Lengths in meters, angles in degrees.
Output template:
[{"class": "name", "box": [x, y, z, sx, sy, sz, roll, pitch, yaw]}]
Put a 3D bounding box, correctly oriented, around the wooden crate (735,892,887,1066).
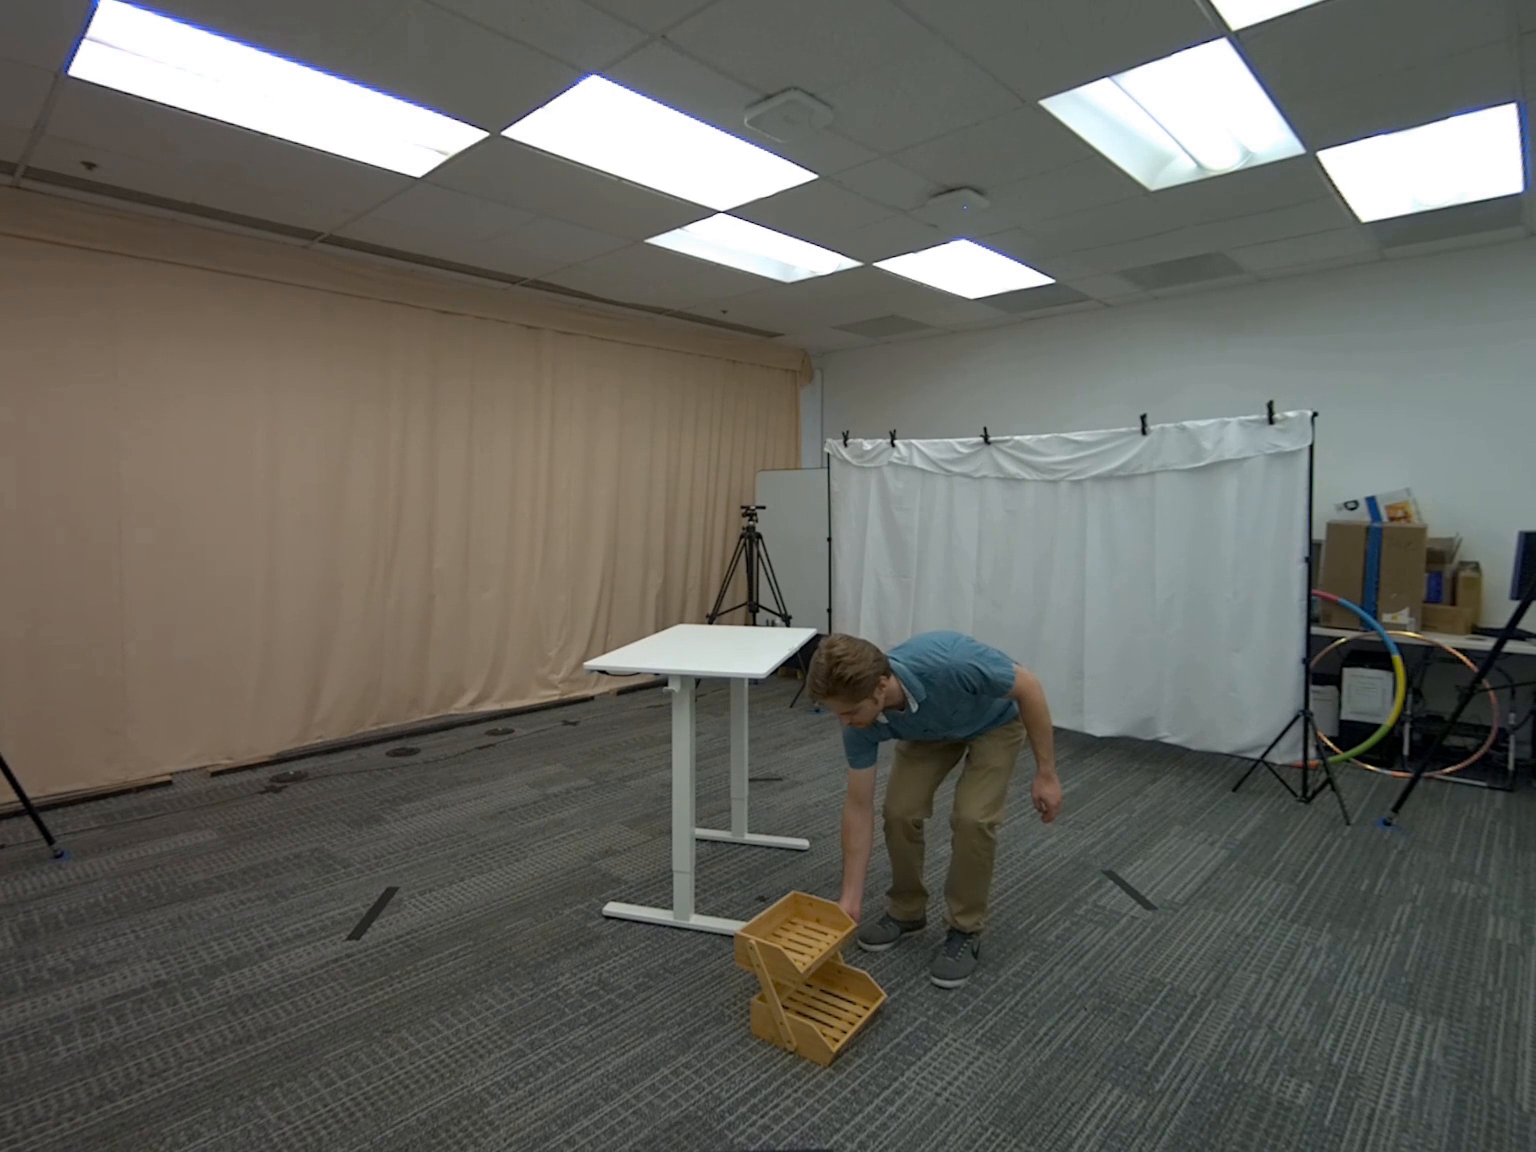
[{"class": "wooden crate", "box": [0.130, 1.071, 2.273, 0.311, 0.273, 0.315, 2, 4, 35]}]
